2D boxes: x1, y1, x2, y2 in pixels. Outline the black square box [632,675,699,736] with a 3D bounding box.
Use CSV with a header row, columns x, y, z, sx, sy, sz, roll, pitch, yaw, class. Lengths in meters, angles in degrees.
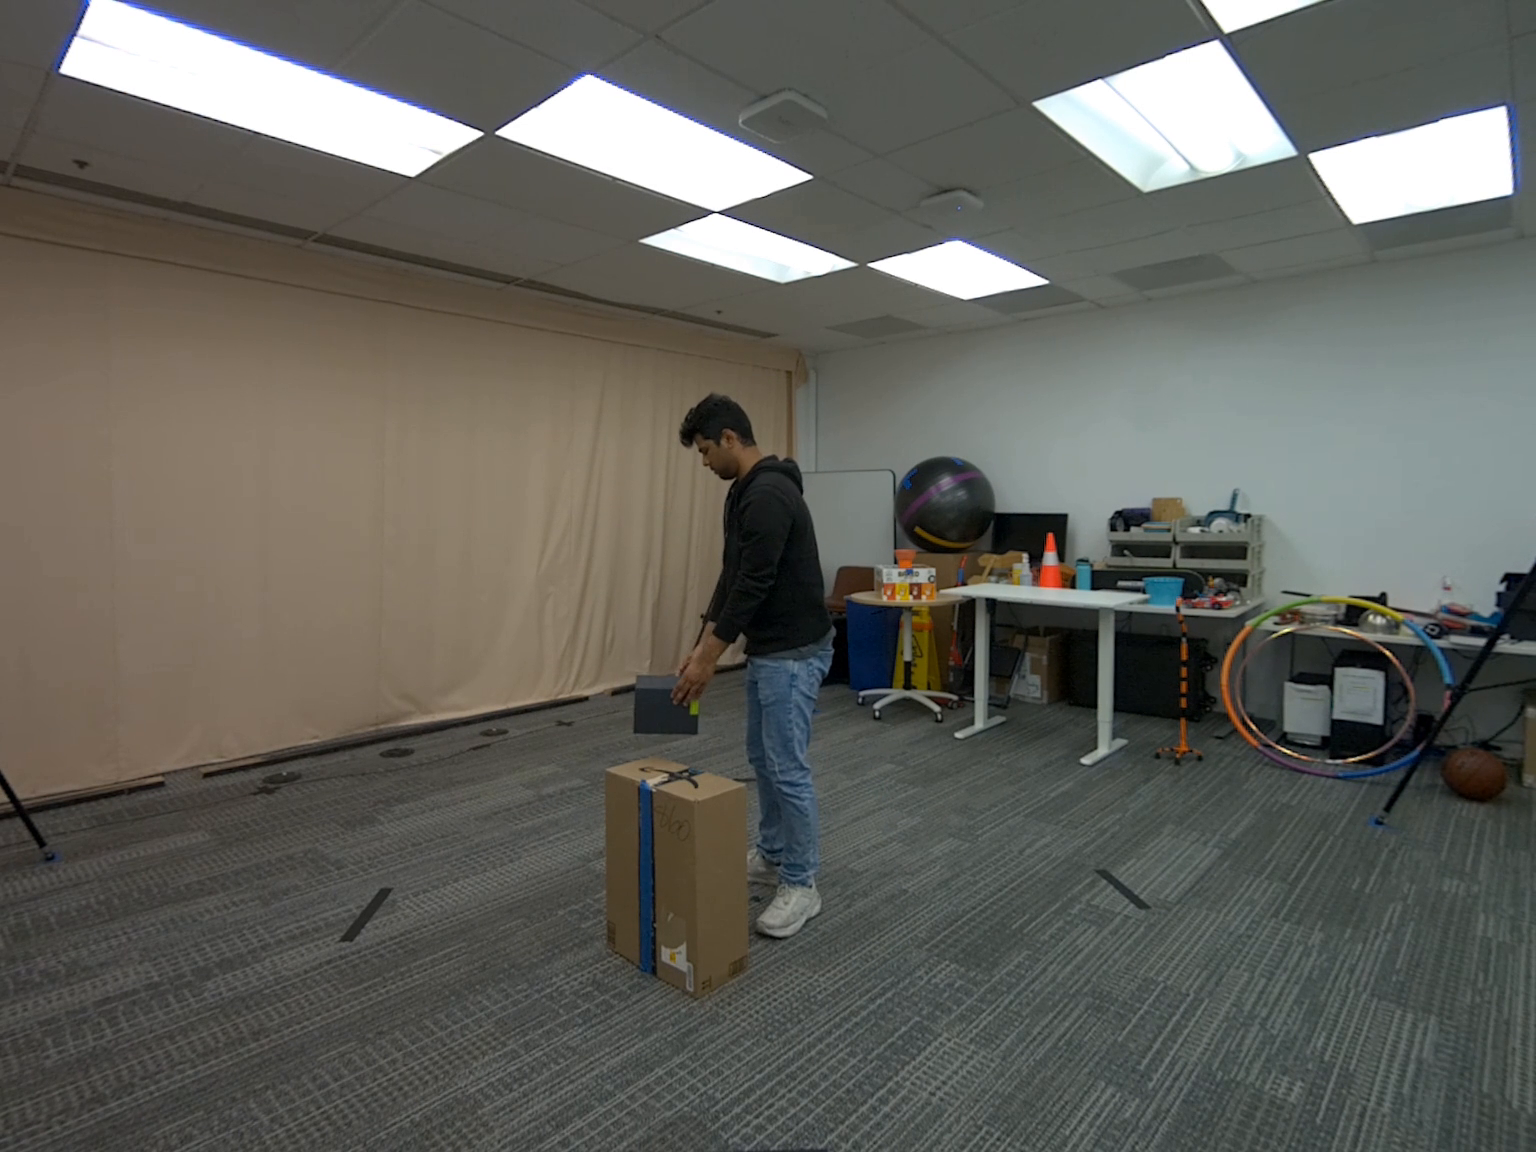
x,y,z,sx,sy,sz,roll,pitch,yaw,class
-0.343,0.449,2.896,0.215,0.156,0.229,0,2,-7,black square box
